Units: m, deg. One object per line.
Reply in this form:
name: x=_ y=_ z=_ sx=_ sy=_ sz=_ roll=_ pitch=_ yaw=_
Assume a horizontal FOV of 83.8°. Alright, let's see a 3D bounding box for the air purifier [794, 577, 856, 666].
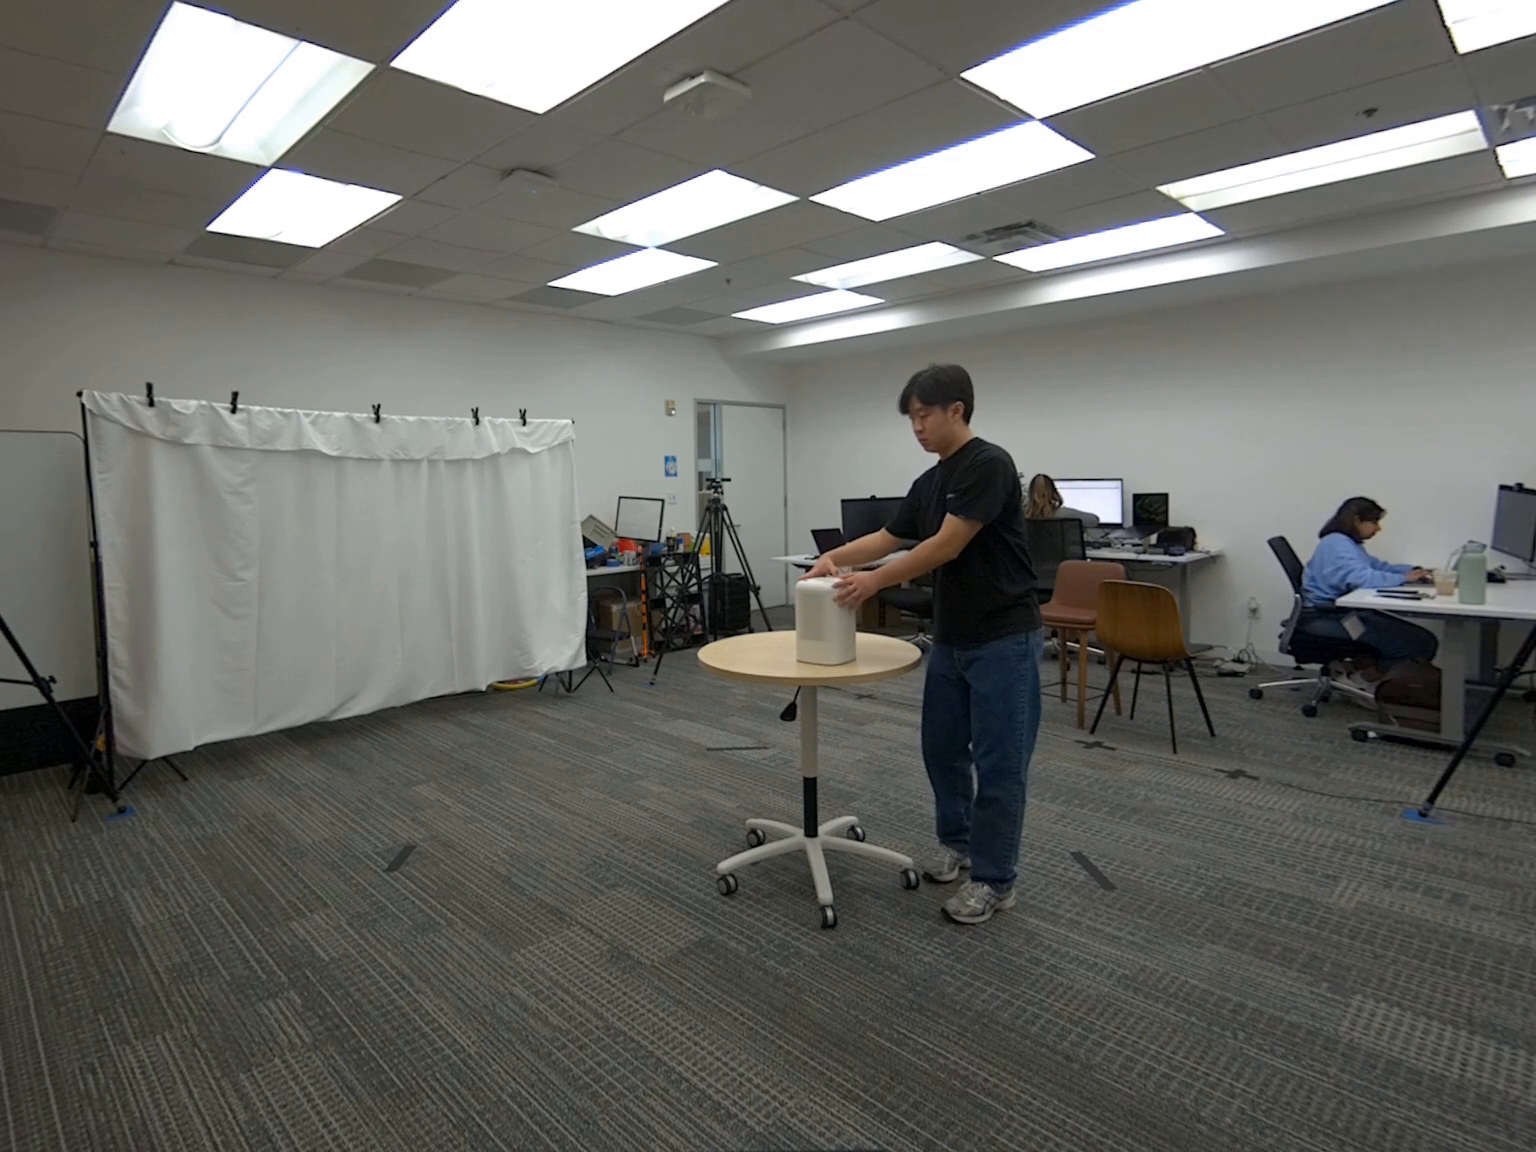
air purifier: x=0.194 y=0.142 z=2.810 sx=0.176 sy=0.264 sz=0.167 roll=1 pitch=5 yaw=38
